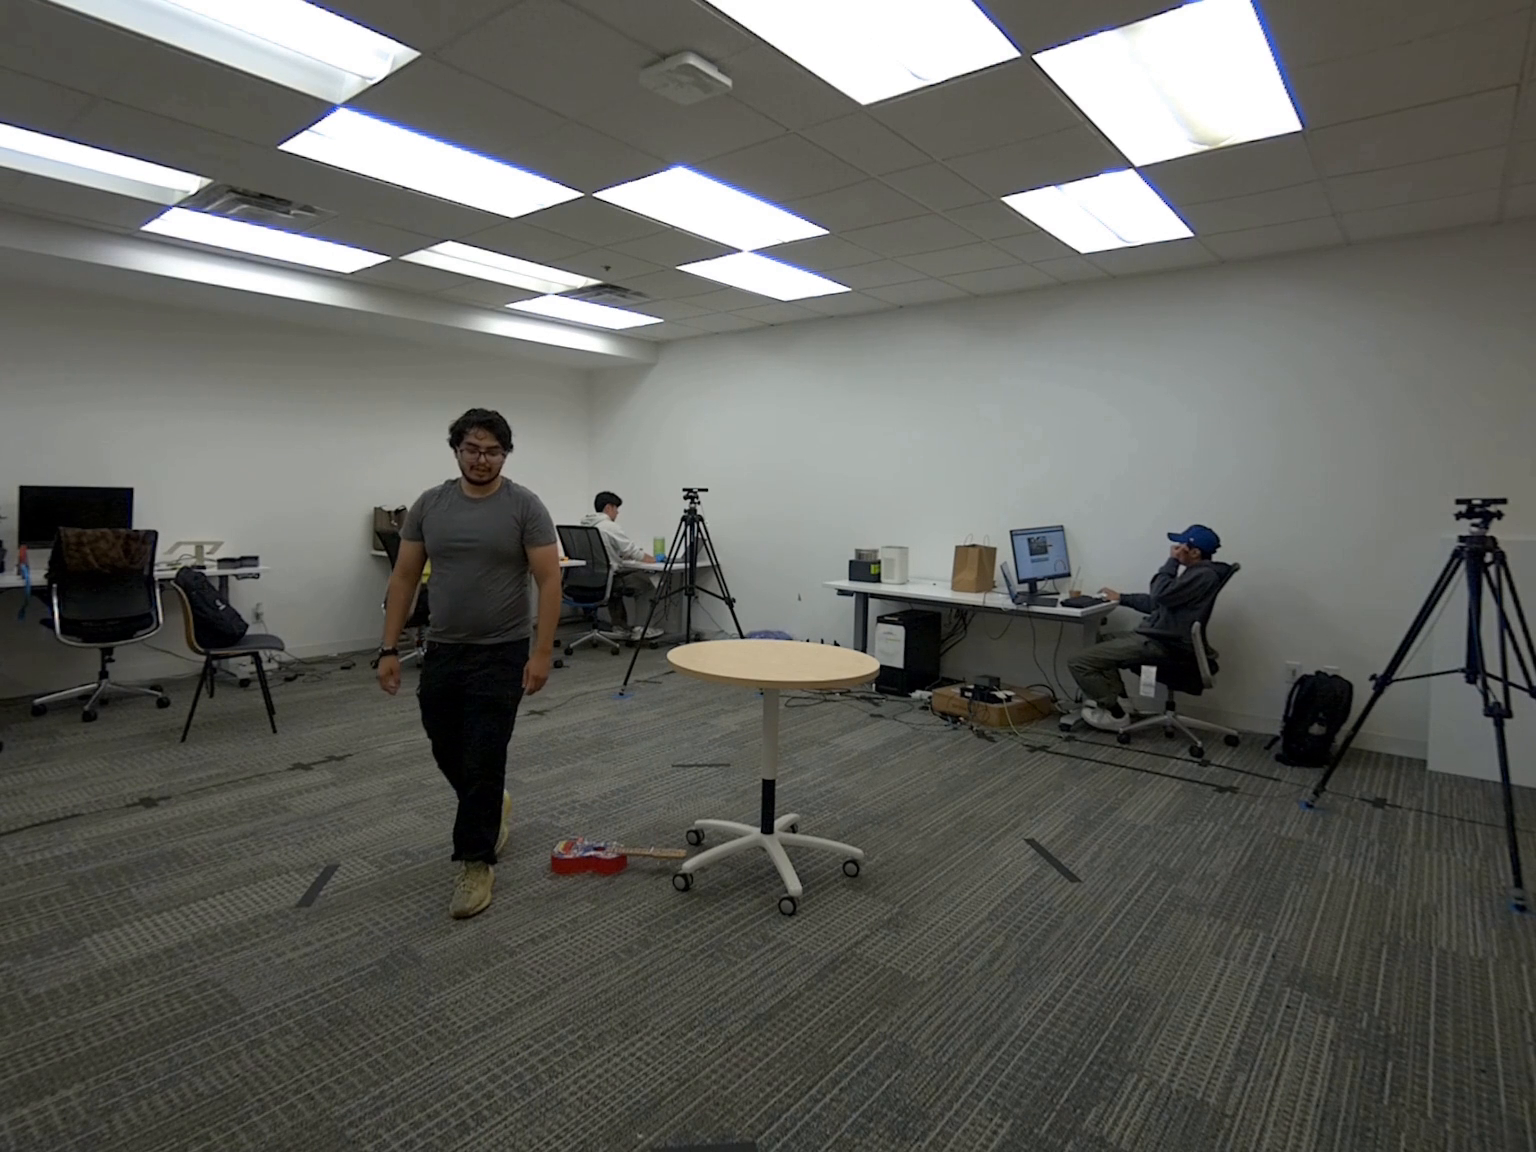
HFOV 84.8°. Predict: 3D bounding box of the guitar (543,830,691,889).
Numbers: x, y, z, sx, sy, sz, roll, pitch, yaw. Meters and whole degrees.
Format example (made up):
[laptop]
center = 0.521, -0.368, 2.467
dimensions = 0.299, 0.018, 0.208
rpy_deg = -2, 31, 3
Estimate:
[guitar]
center = -0.554, 1.035, 3.086
dimensions = 0.506, 0.071, 0.190
rpy_deg = 3, 2, 15
